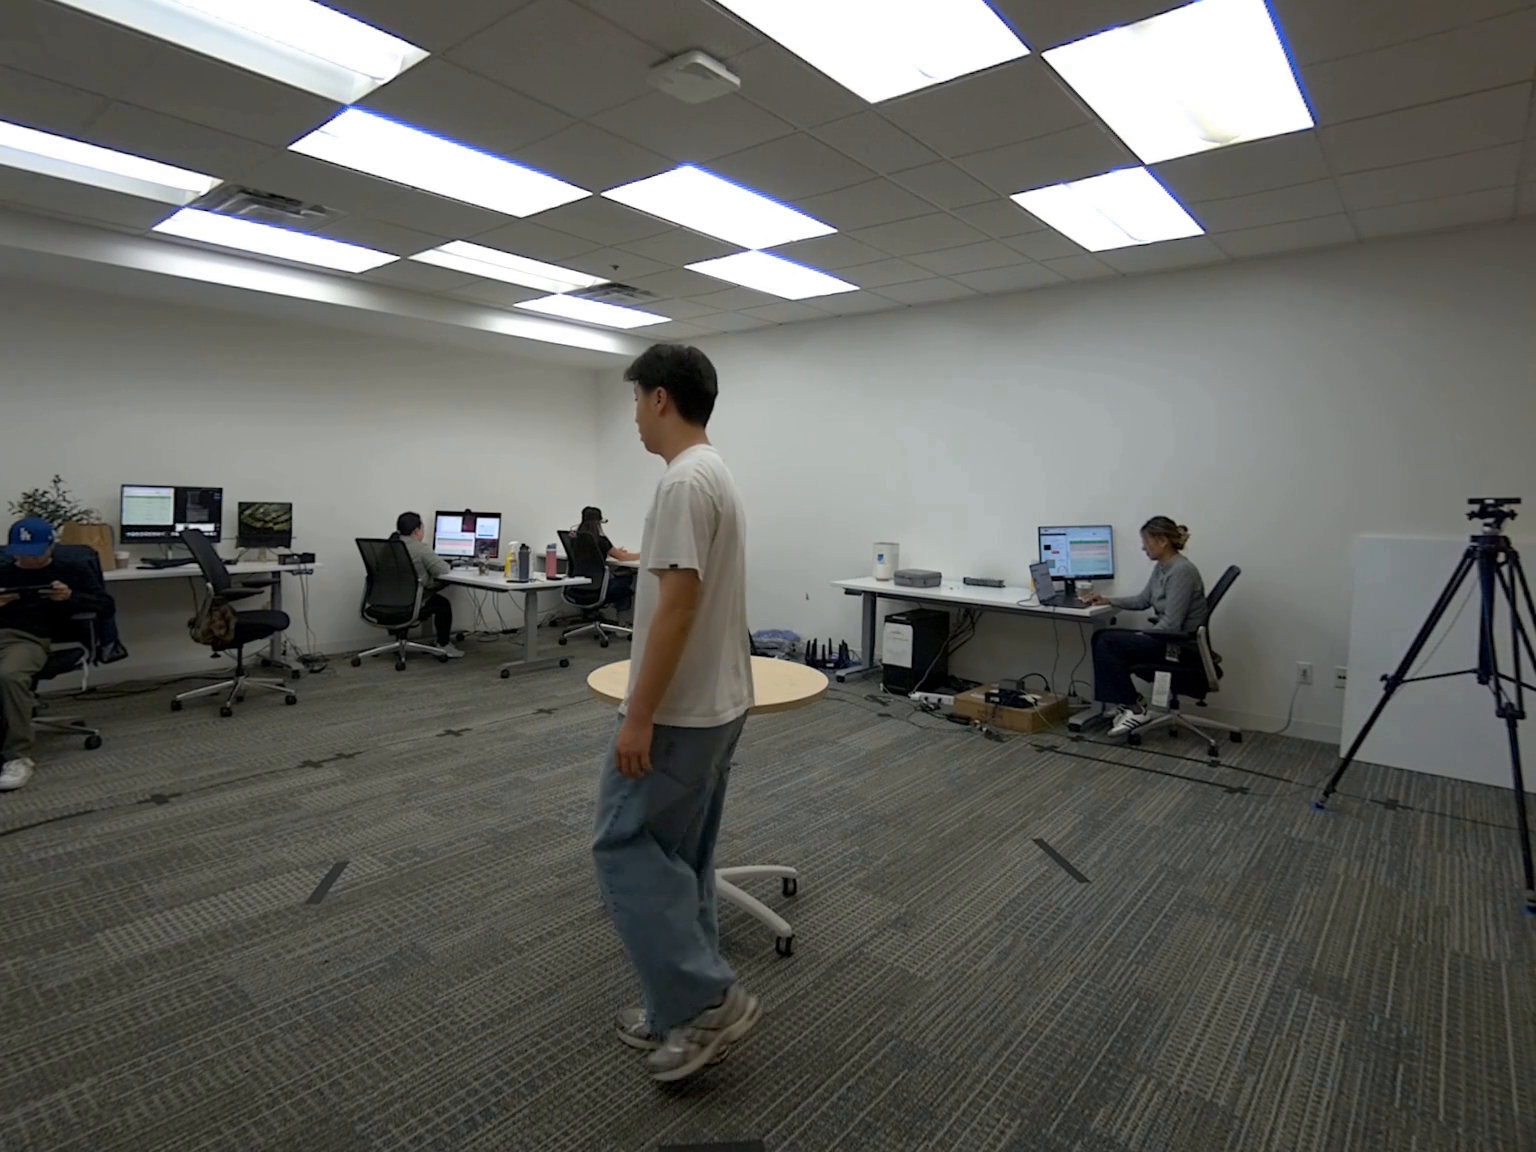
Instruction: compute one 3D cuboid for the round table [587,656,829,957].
[{"bbox_3d":[-0.206,0.711,2.743,0.763,0.791,0.768,1,4,-2],"label":"round table"}]
